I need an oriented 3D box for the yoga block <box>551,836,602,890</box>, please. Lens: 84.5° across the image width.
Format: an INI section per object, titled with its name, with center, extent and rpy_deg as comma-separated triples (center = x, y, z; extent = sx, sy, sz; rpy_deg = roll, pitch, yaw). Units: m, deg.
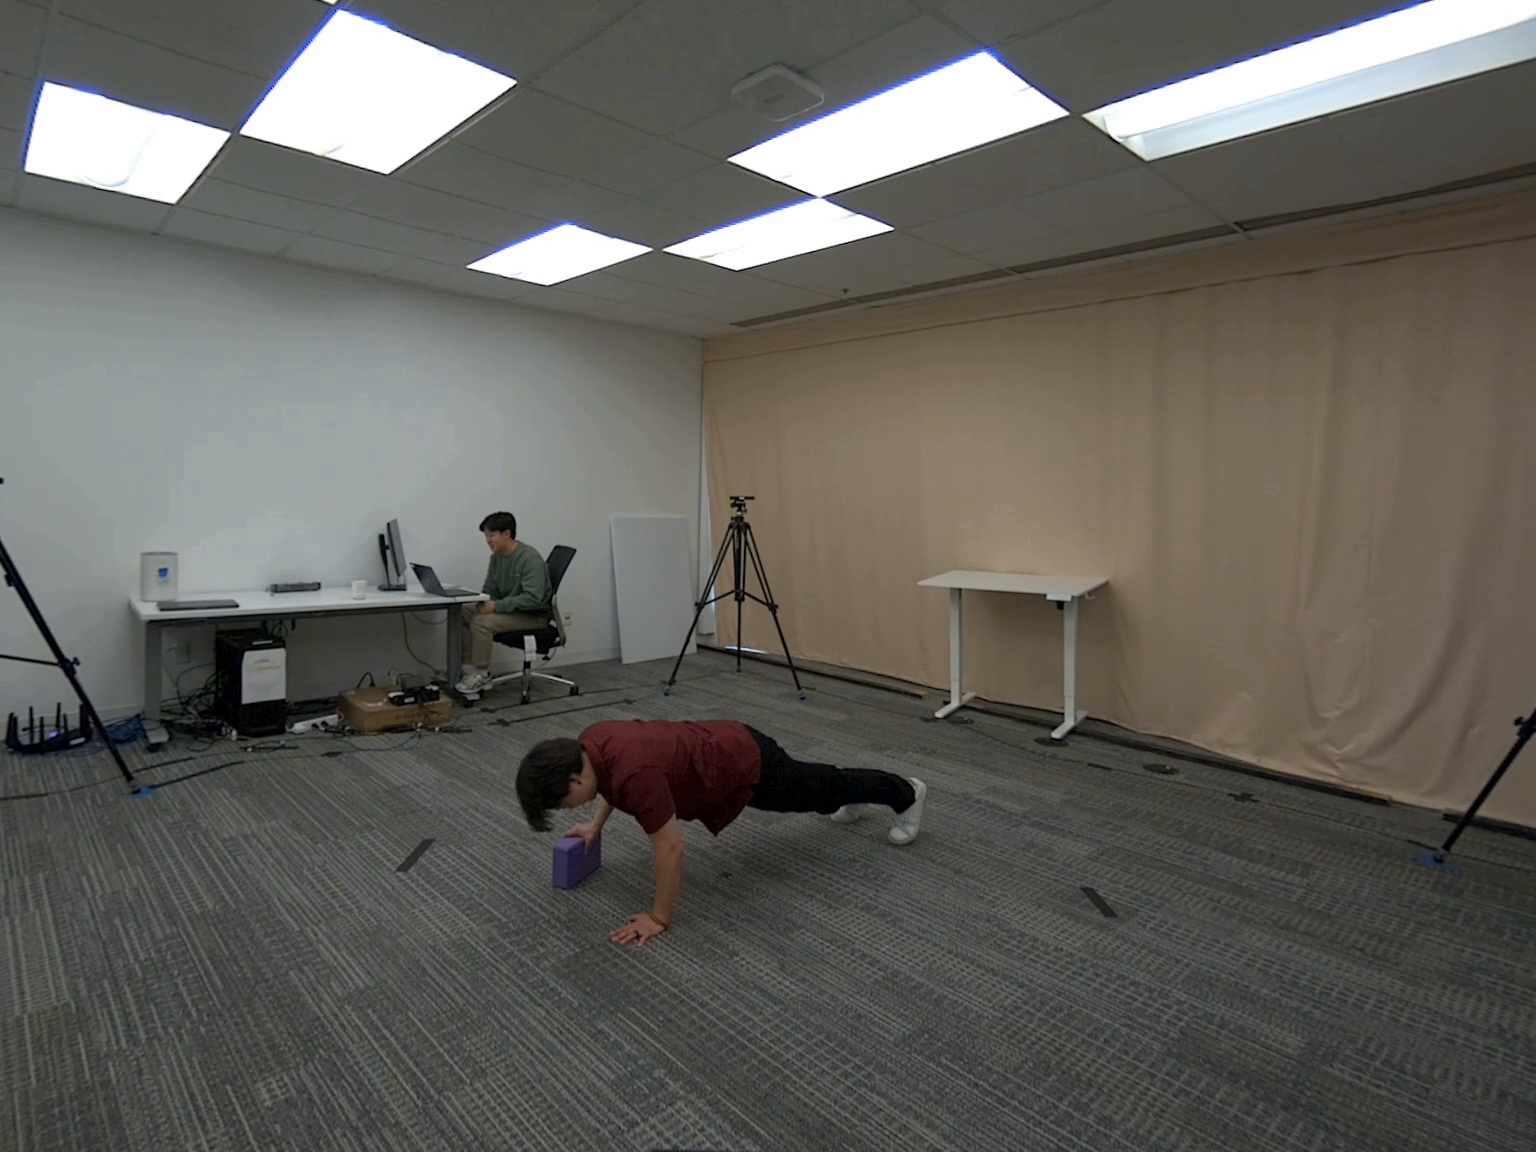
[yoga block]
center = -0.695, 1.017, 3.064
extent = 0.077, 0.148, 0.226
rpy_deg = 3, 4, 19
